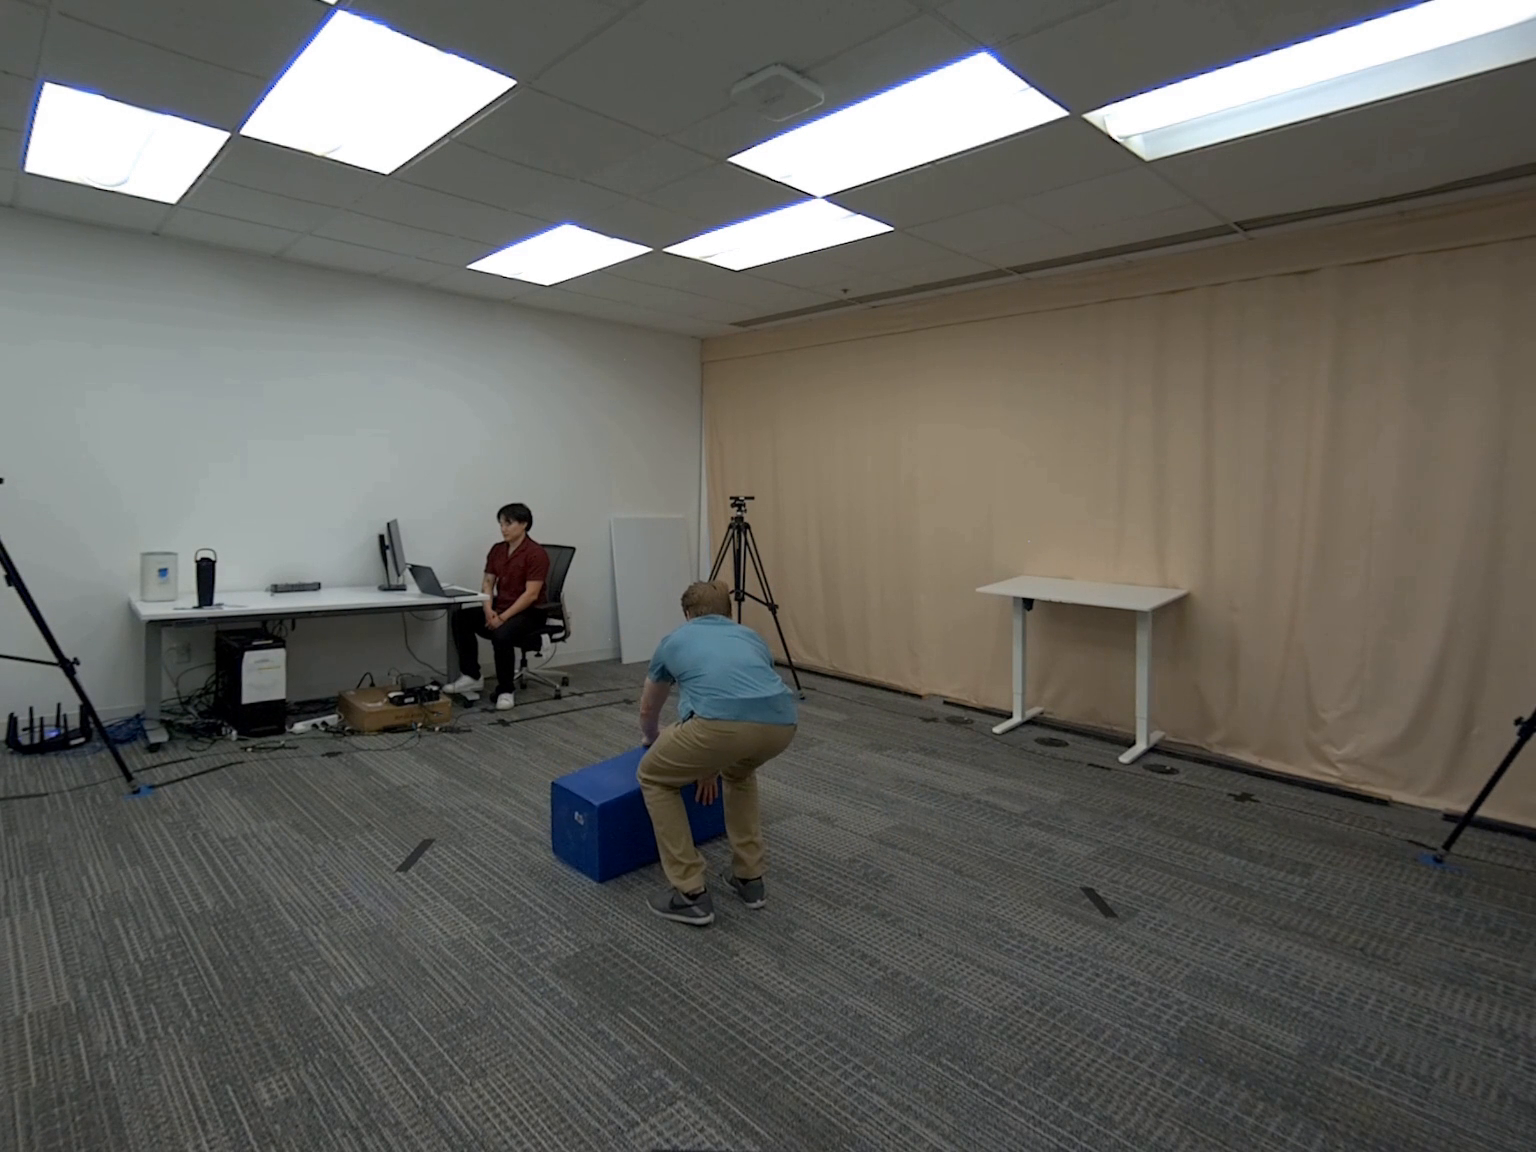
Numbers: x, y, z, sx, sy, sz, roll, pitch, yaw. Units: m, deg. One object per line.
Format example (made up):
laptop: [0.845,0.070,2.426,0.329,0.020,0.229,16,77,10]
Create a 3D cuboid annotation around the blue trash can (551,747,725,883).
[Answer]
blue trash can: [-0.478,0.895,3.331,0.384,0.375,0.700,8,14,43]
